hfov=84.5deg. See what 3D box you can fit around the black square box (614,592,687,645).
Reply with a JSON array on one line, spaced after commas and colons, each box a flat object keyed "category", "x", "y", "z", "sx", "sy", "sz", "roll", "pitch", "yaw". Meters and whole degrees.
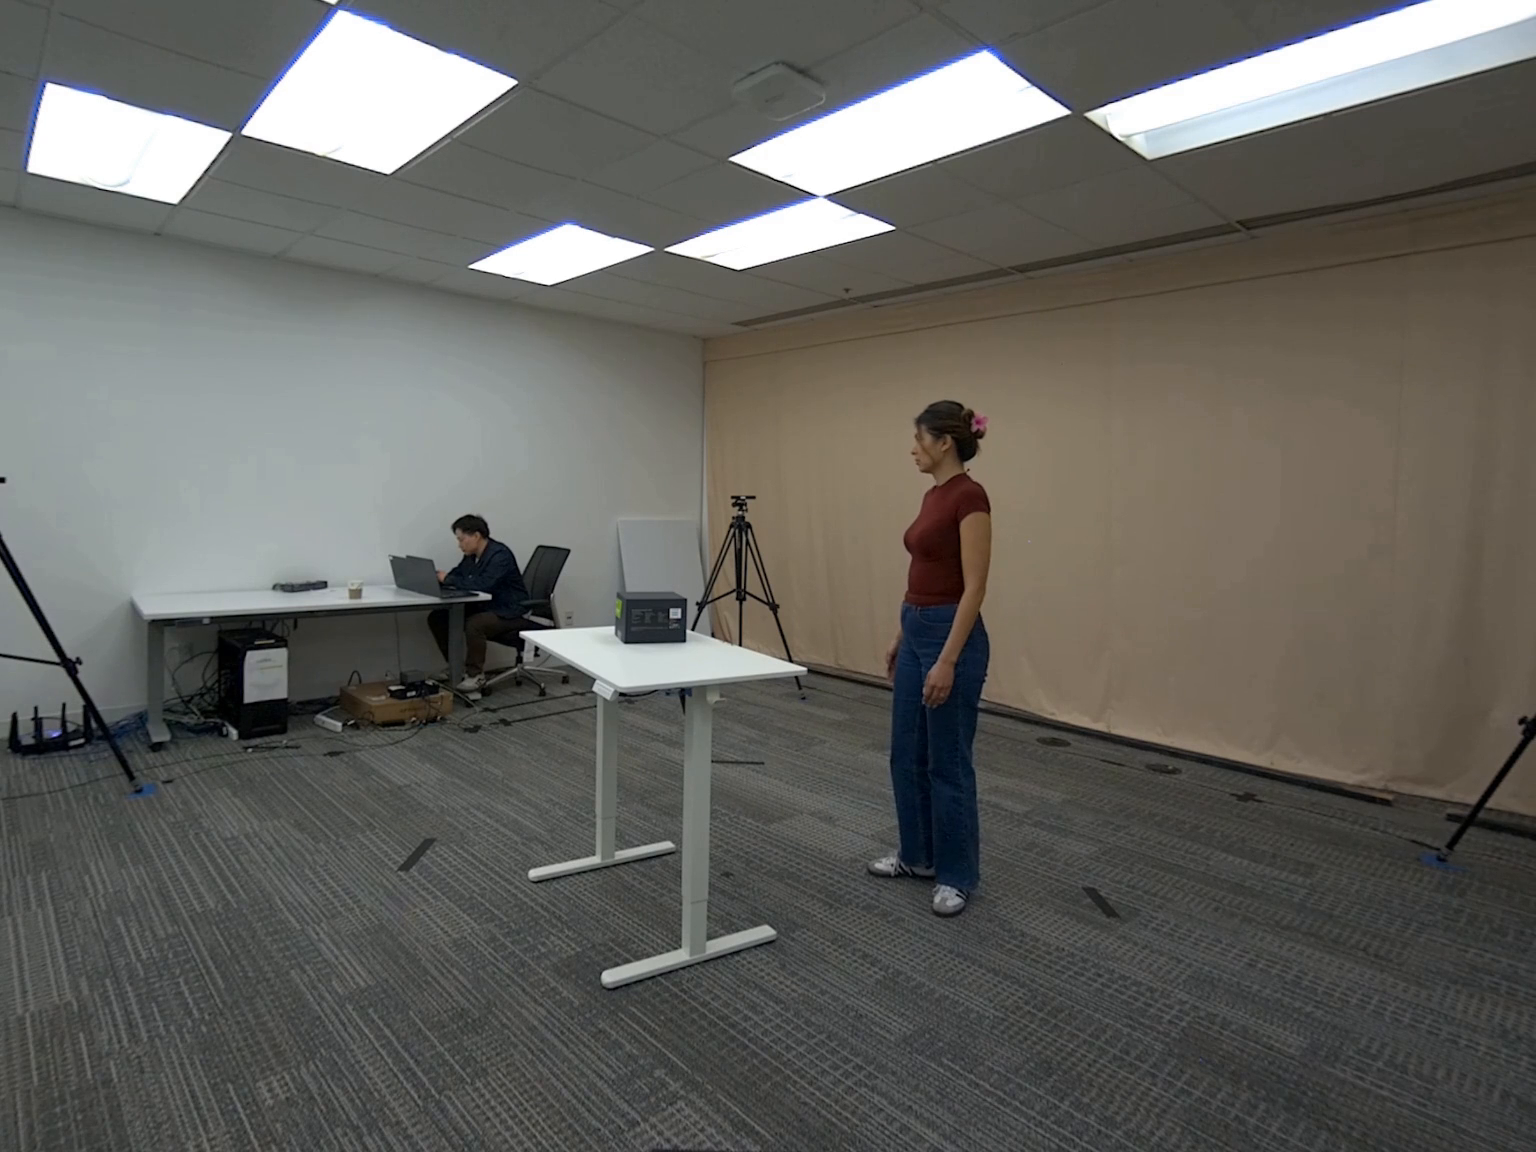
[{"category": "black square box", "x": -0.427, "y": 0.143, "z": 3.008, "sx": 0.214, "sy": 0.155, "sz": 0.231, "roll": 0, "pitch": 4, "yaw": -16}]
